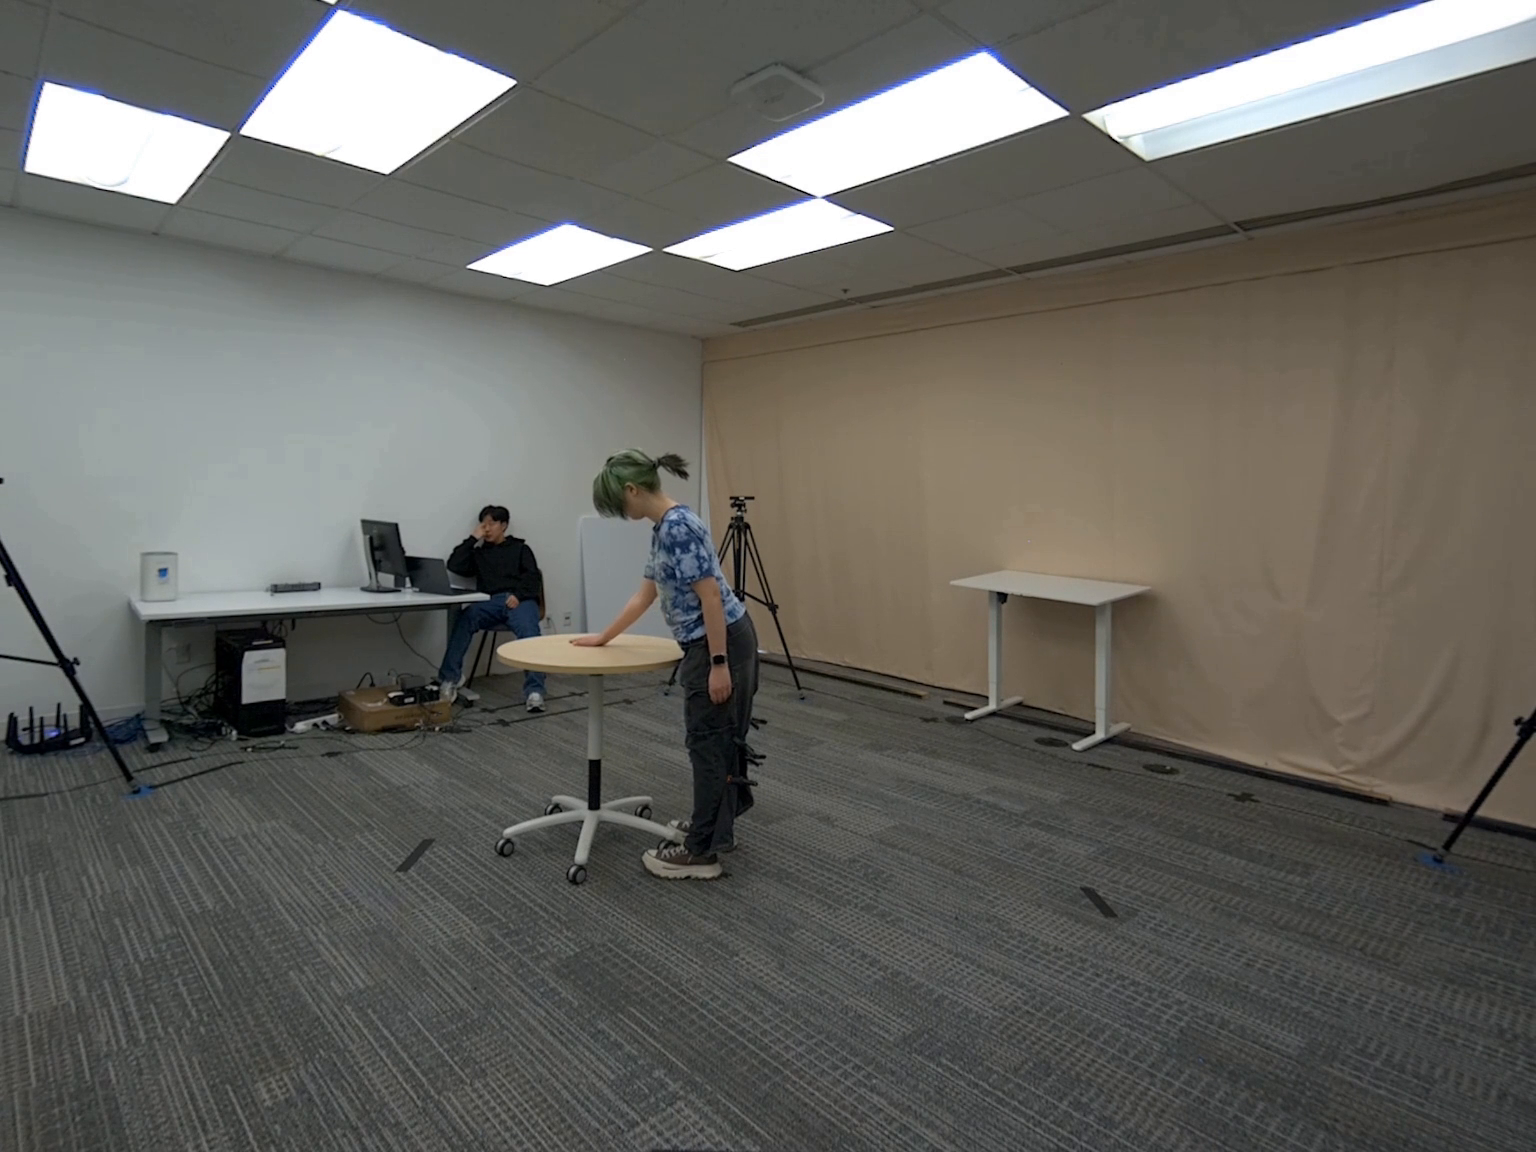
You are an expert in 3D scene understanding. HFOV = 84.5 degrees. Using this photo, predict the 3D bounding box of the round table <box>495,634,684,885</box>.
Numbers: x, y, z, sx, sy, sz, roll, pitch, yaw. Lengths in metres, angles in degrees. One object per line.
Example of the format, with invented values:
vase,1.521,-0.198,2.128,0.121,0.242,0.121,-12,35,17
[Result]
round table,-0.679,0.674,3.350,0.784,0.784,0.788,1,4,-1
